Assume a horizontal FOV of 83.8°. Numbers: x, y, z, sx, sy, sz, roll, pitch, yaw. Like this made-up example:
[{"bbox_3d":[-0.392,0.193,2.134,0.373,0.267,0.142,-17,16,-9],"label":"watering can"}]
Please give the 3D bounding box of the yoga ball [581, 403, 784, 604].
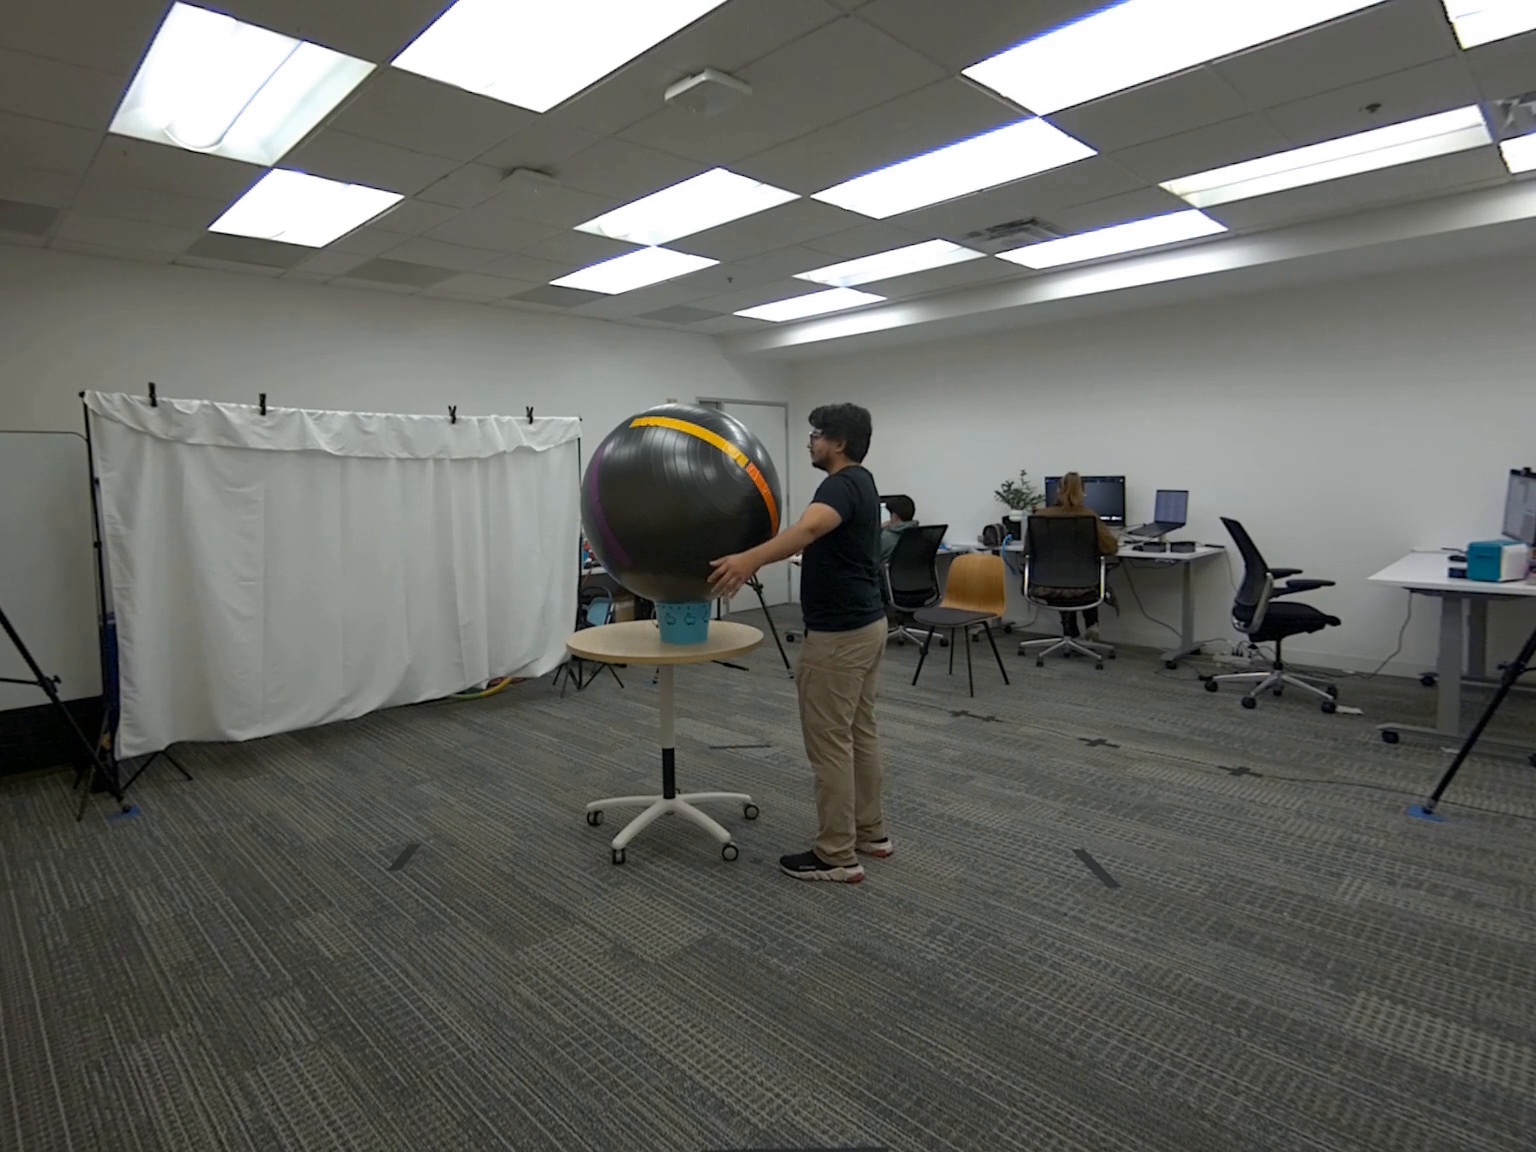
[{"bbox_3d":[-0.328,-0.268,3.230,0.757,0.755,0.762,-1,5,-2],"label":"yoga ball"}]
